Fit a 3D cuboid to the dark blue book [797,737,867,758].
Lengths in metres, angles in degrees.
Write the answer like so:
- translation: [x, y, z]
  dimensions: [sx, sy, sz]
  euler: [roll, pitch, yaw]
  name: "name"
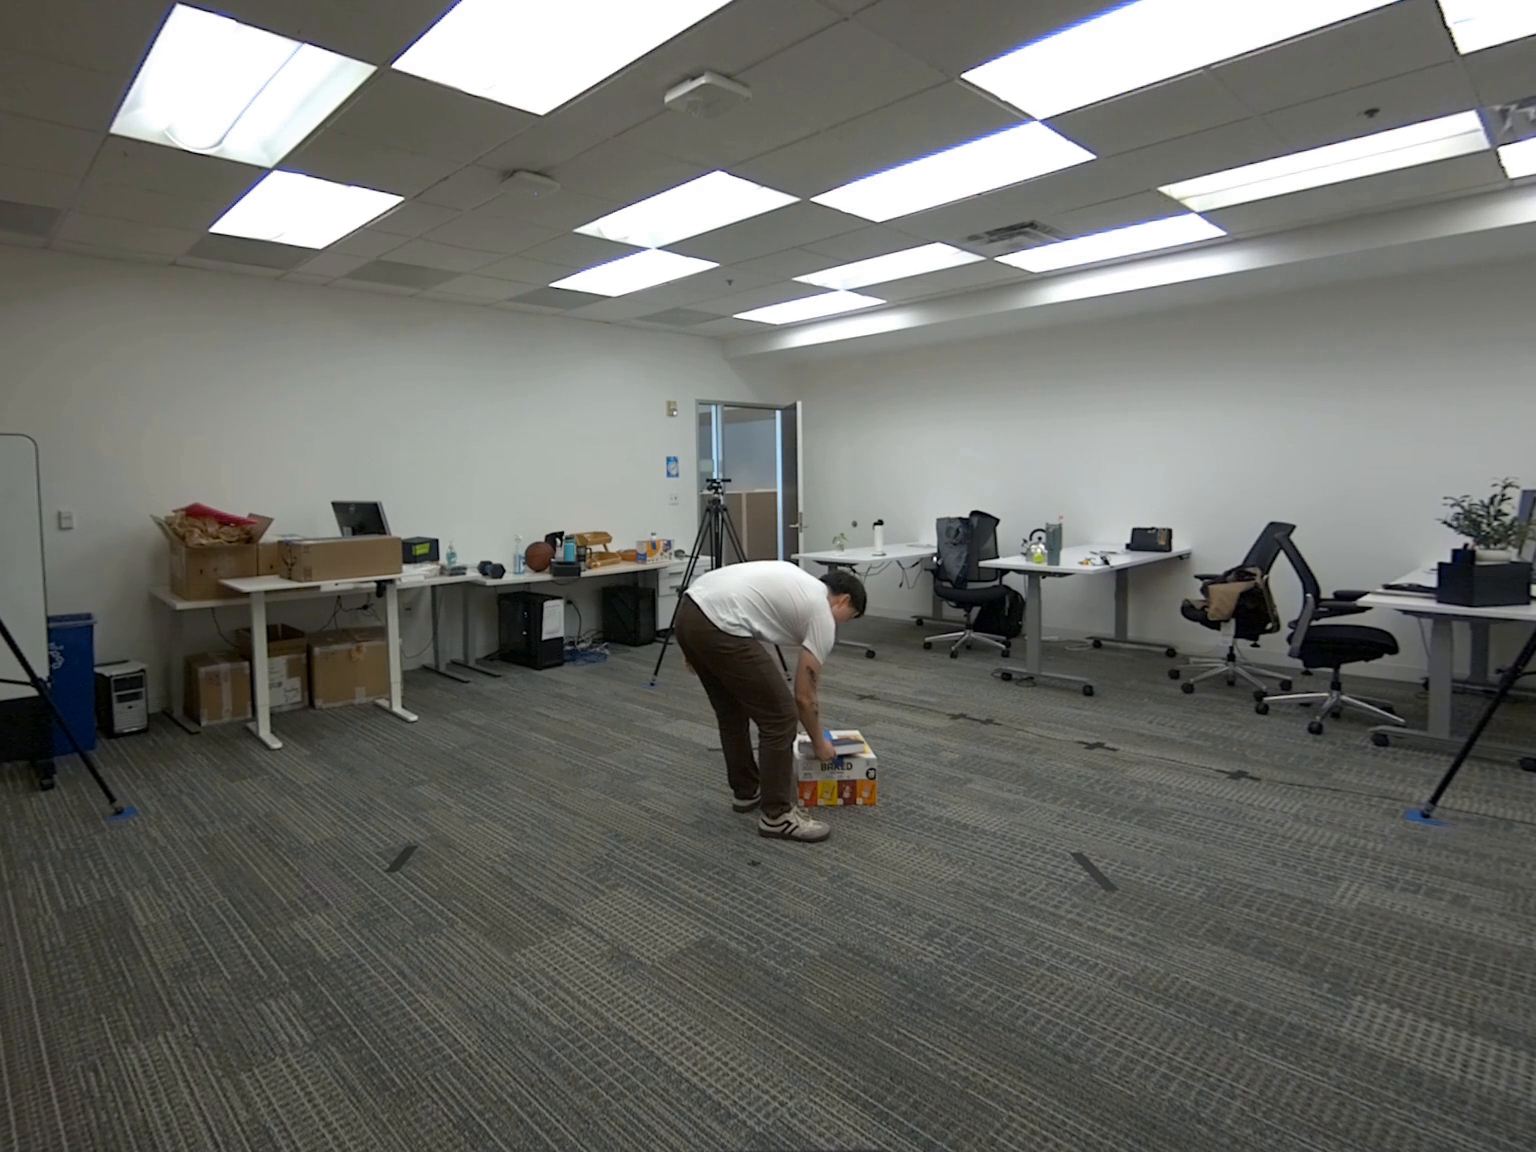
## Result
- translation: [0.271, 0.733, 3.672]
  dimensions: [0.240, 0.045, 0.166]
  euler: [-1, -2, -22]
  name: "dark blue book"
